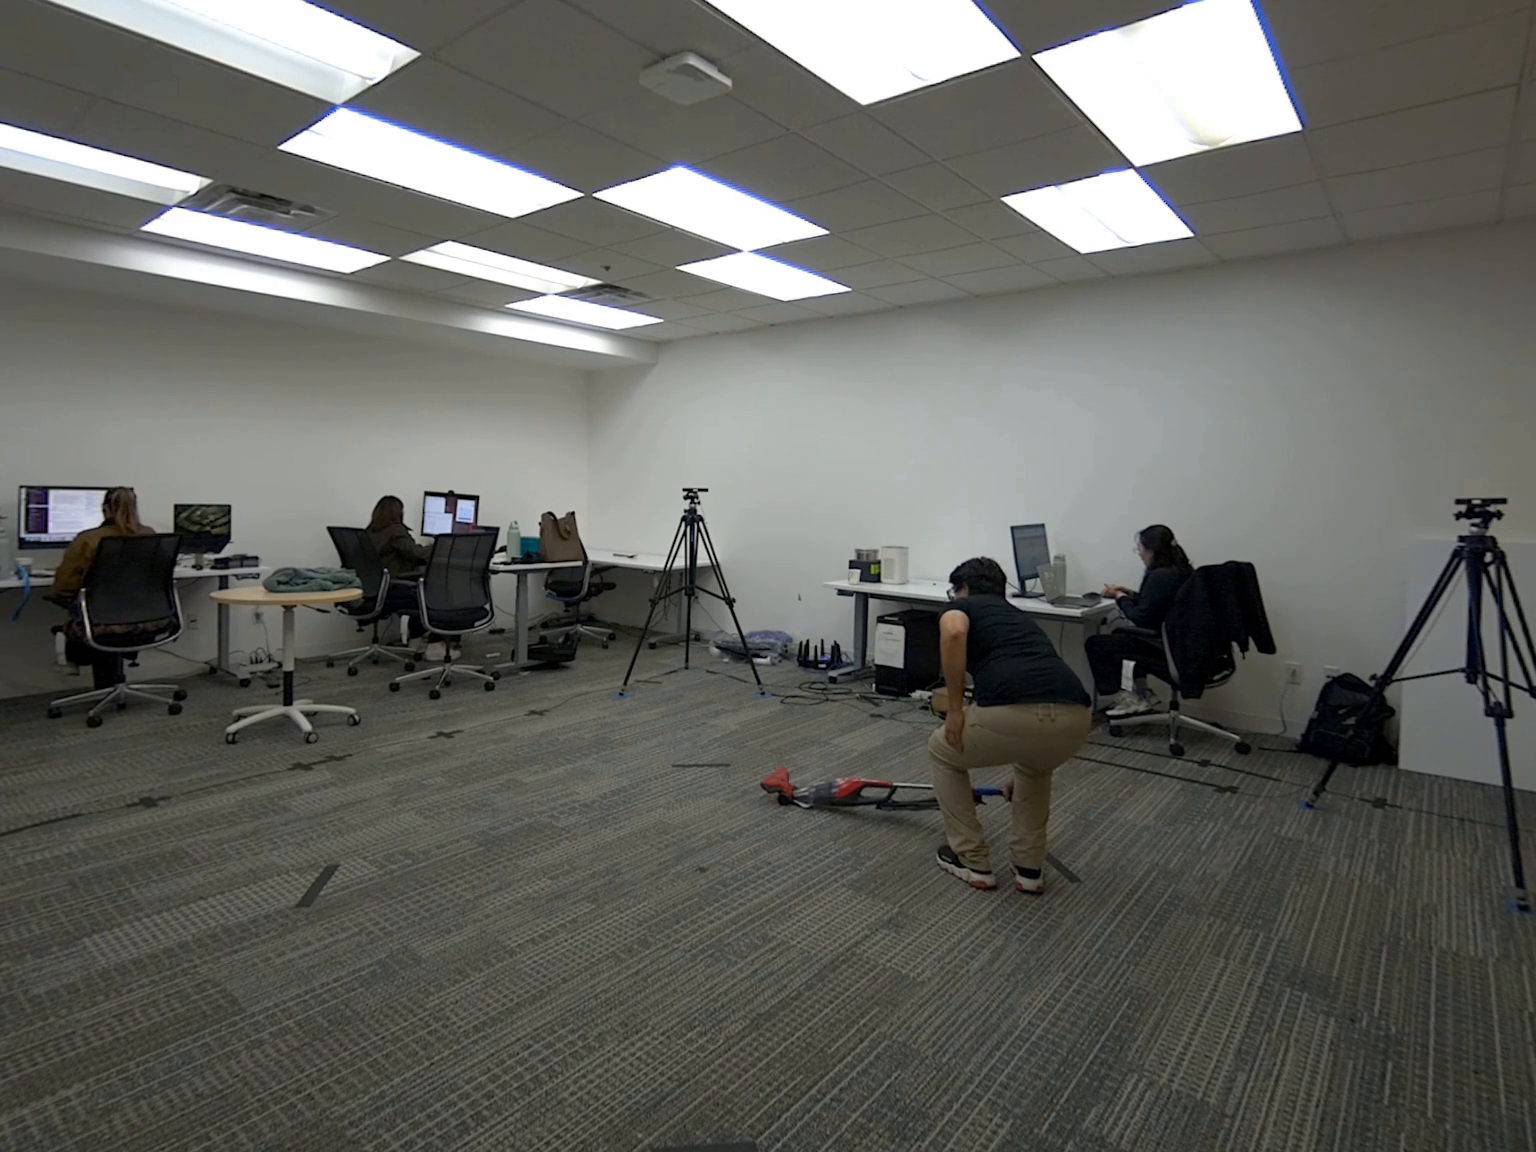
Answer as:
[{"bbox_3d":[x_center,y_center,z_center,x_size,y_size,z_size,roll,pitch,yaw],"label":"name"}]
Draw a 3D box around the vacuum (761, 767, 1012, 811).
[{"bbox_3d":[0.521,0.933,3.614,1.073,0.144,0.247,-3,2,25],"label":"vacuum"}]
